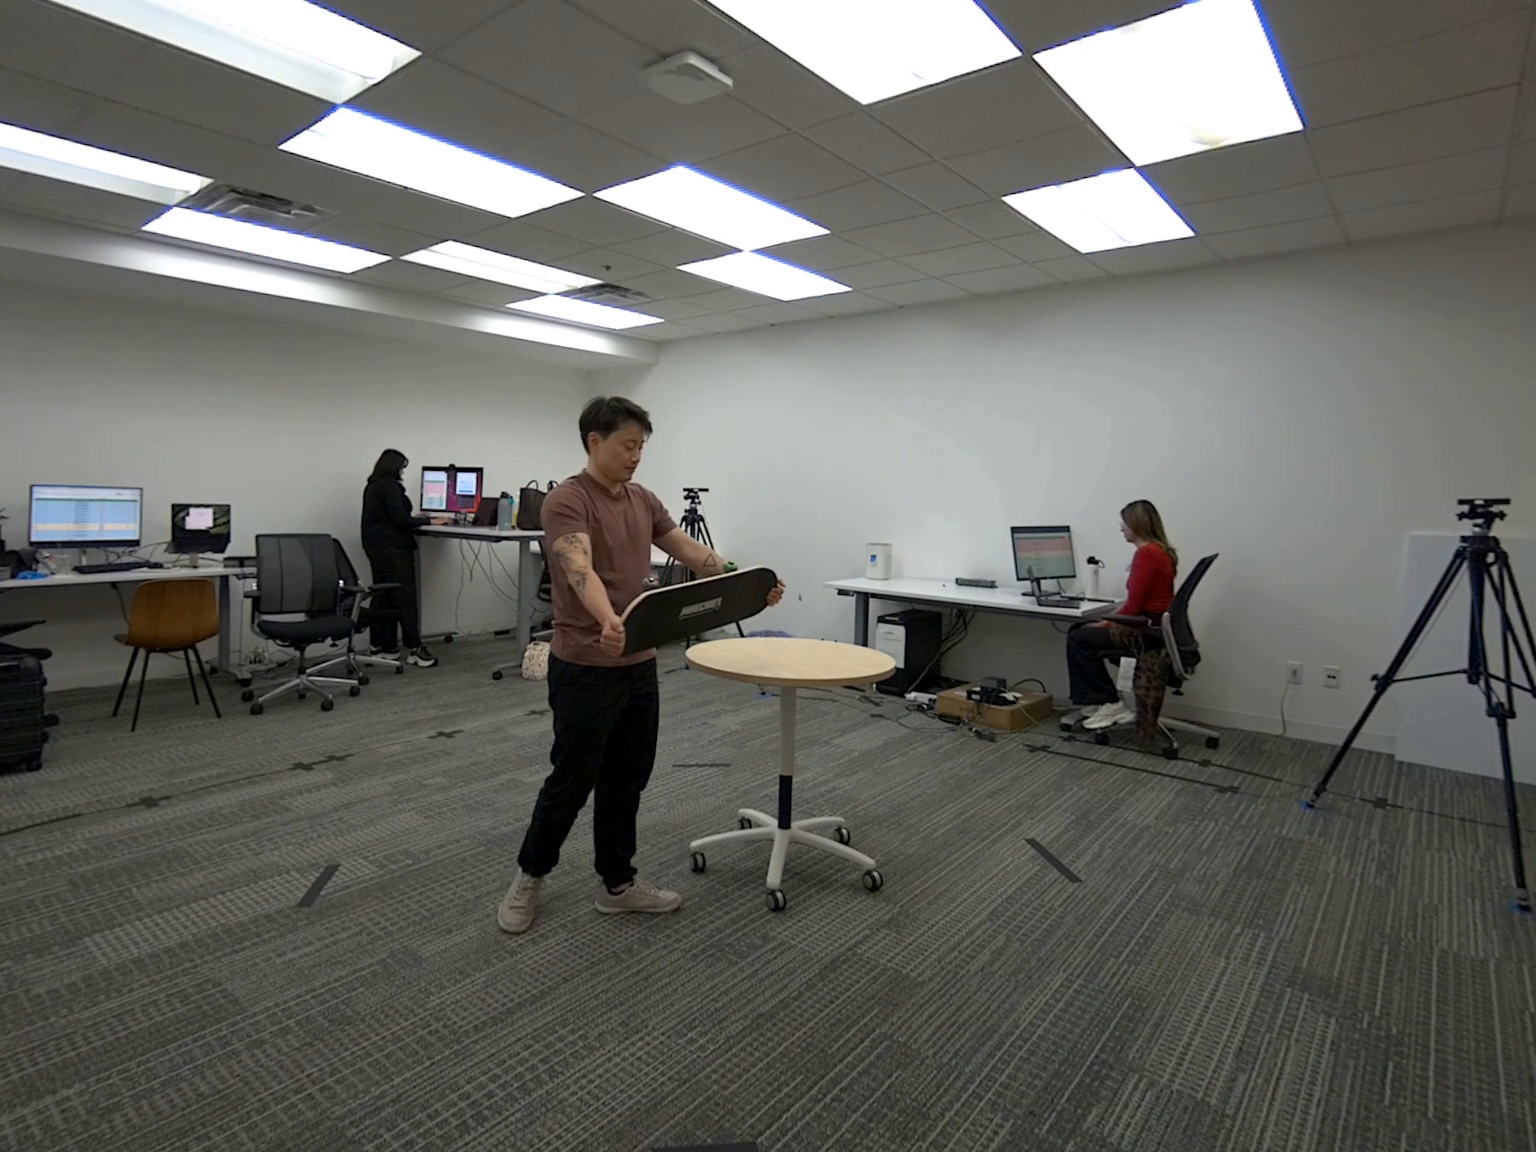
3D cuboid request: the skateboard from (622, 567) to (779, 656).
[{"bbox_3d":[-0.237,0.085,2.570,0.114,0.191,0.766,23,20,30],"label":"skateboard"}]
